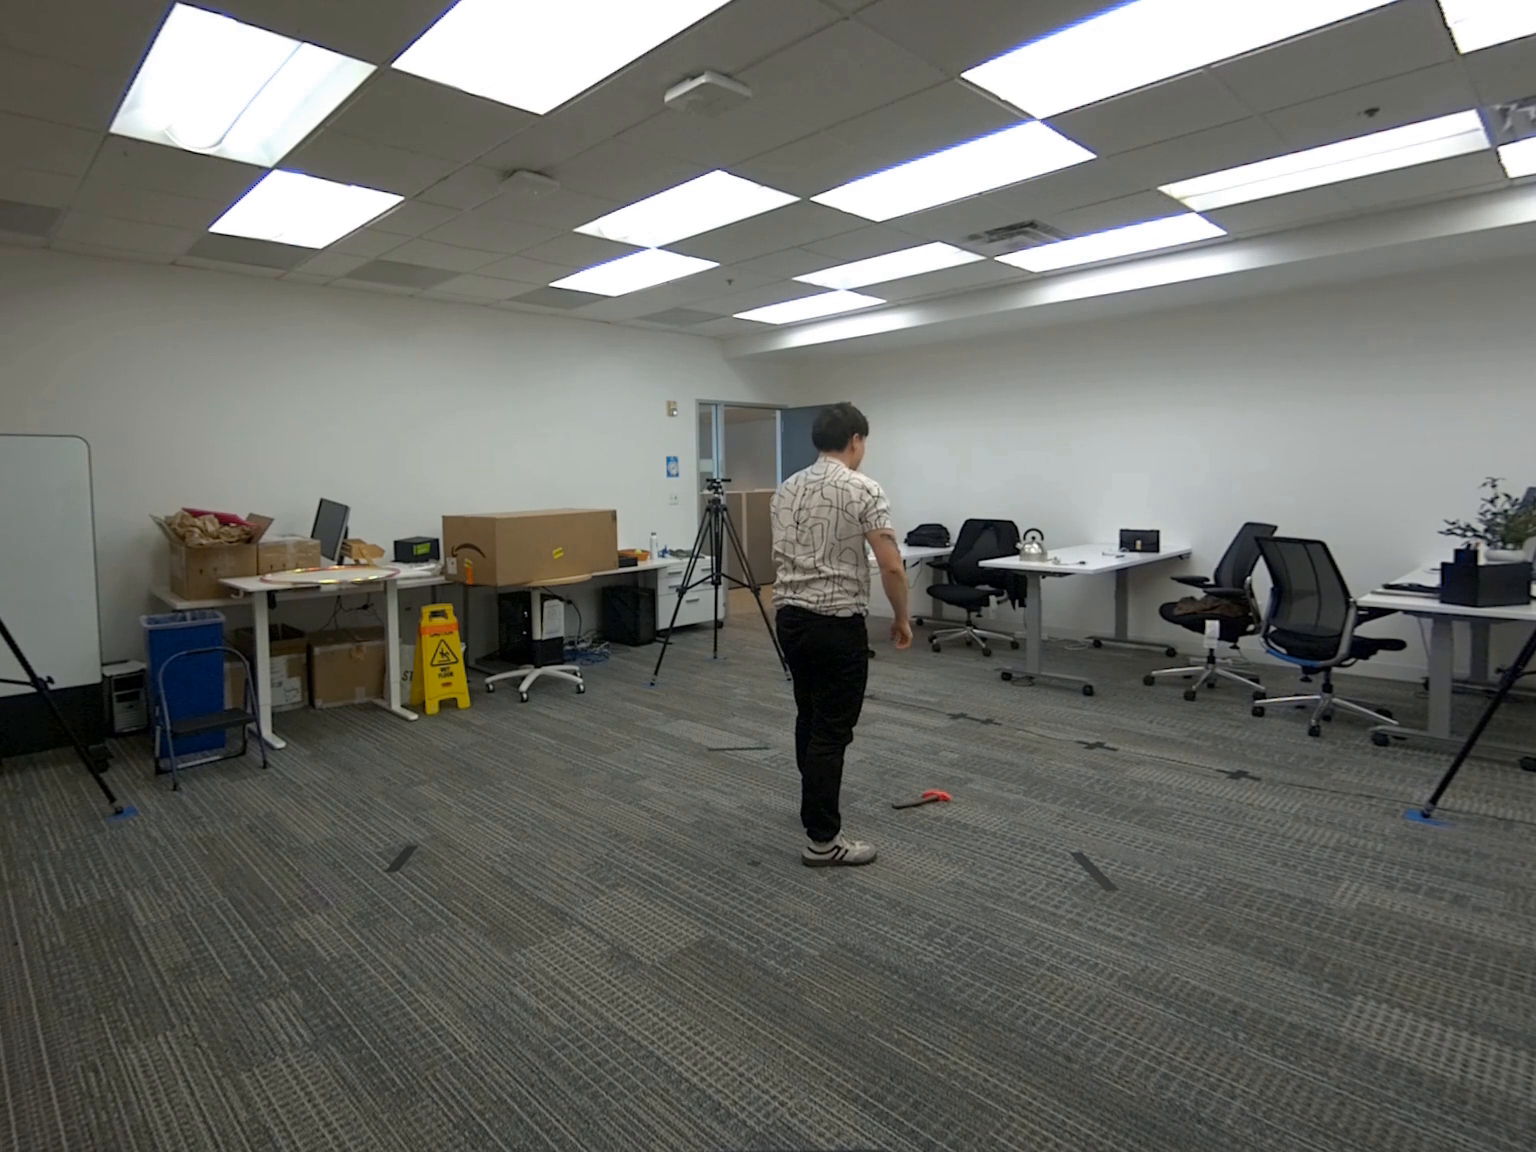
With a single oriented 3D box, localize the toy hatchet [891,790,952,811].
[{"bbox_3d":[0.644,0.959,3.679,0.267,0.029,0.133,-4,7,-14],"label":"toy hatchet"}]
